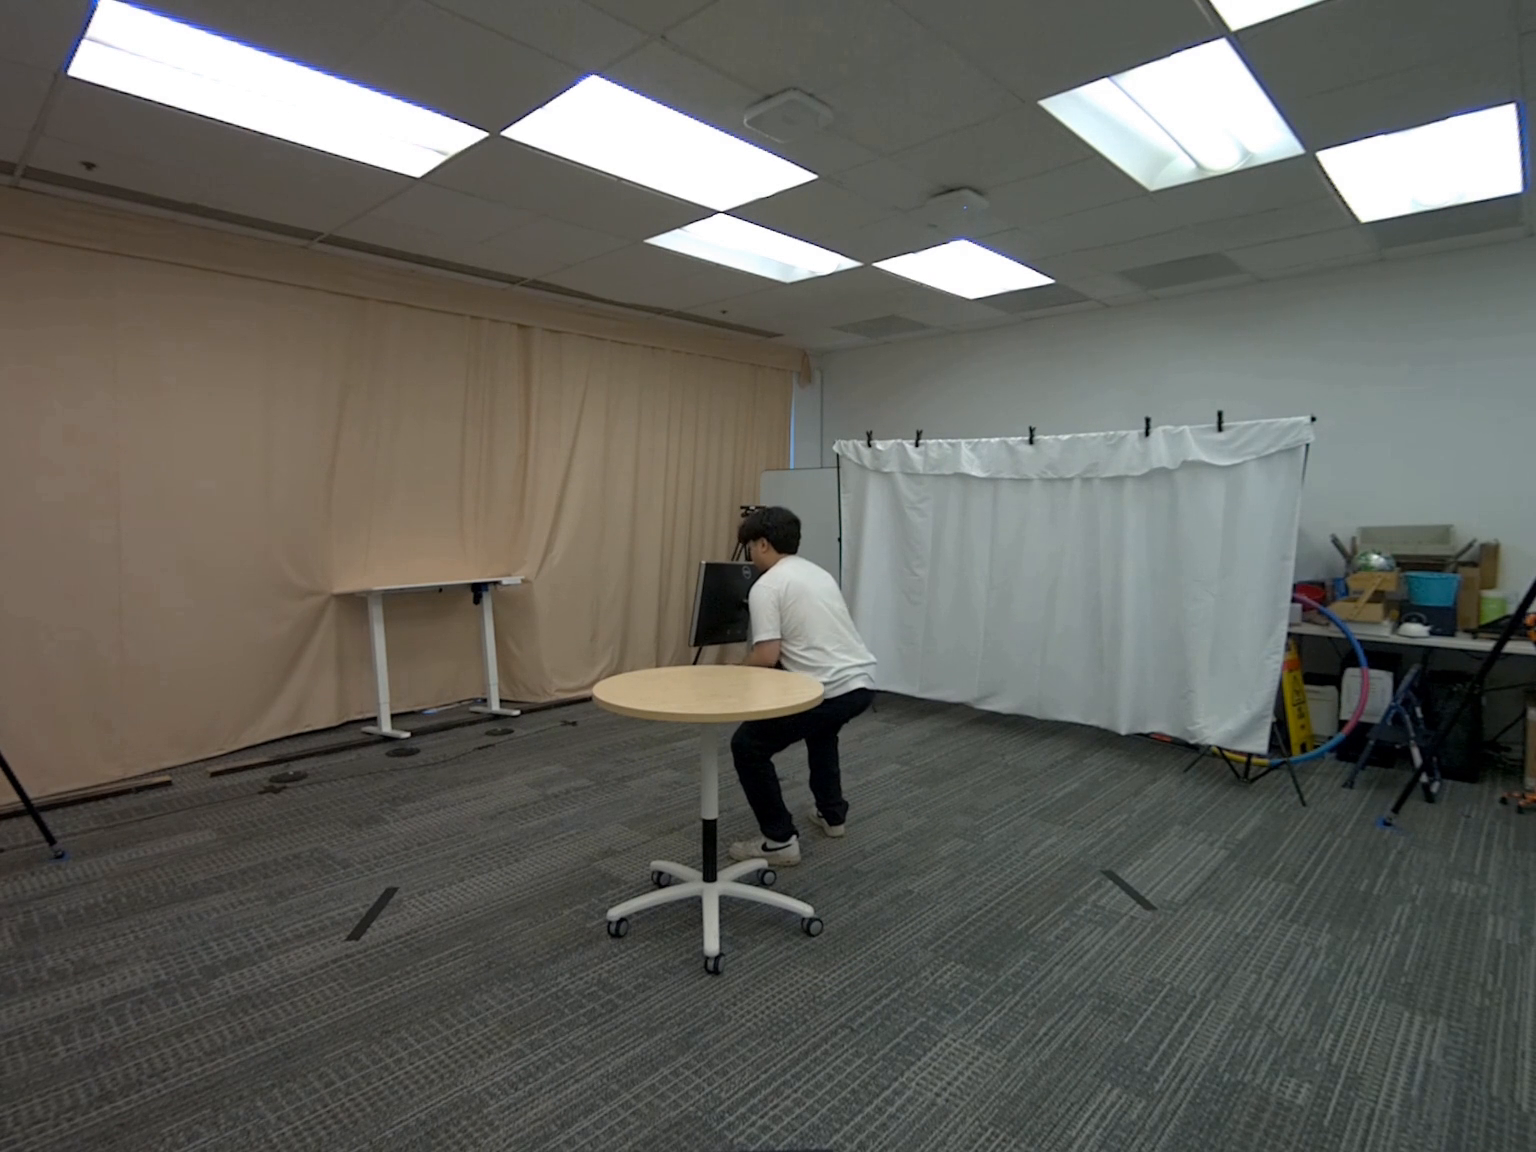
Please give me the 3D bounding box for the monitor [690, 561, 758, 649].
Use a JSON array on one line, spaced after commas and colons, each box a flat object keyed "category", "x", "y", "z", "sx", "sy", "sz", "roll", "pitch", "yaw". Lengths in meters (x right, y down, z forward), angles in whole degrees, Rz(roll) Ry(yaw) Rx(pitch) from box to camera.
[{"category": "monitor", "x": -0.087, "y": 0.211, "z": 3.672, "sx": 0.217, "sy": 0.554, "sz": 0.548, "roll": 4, "pitch": 1, "yaw": 36}]
